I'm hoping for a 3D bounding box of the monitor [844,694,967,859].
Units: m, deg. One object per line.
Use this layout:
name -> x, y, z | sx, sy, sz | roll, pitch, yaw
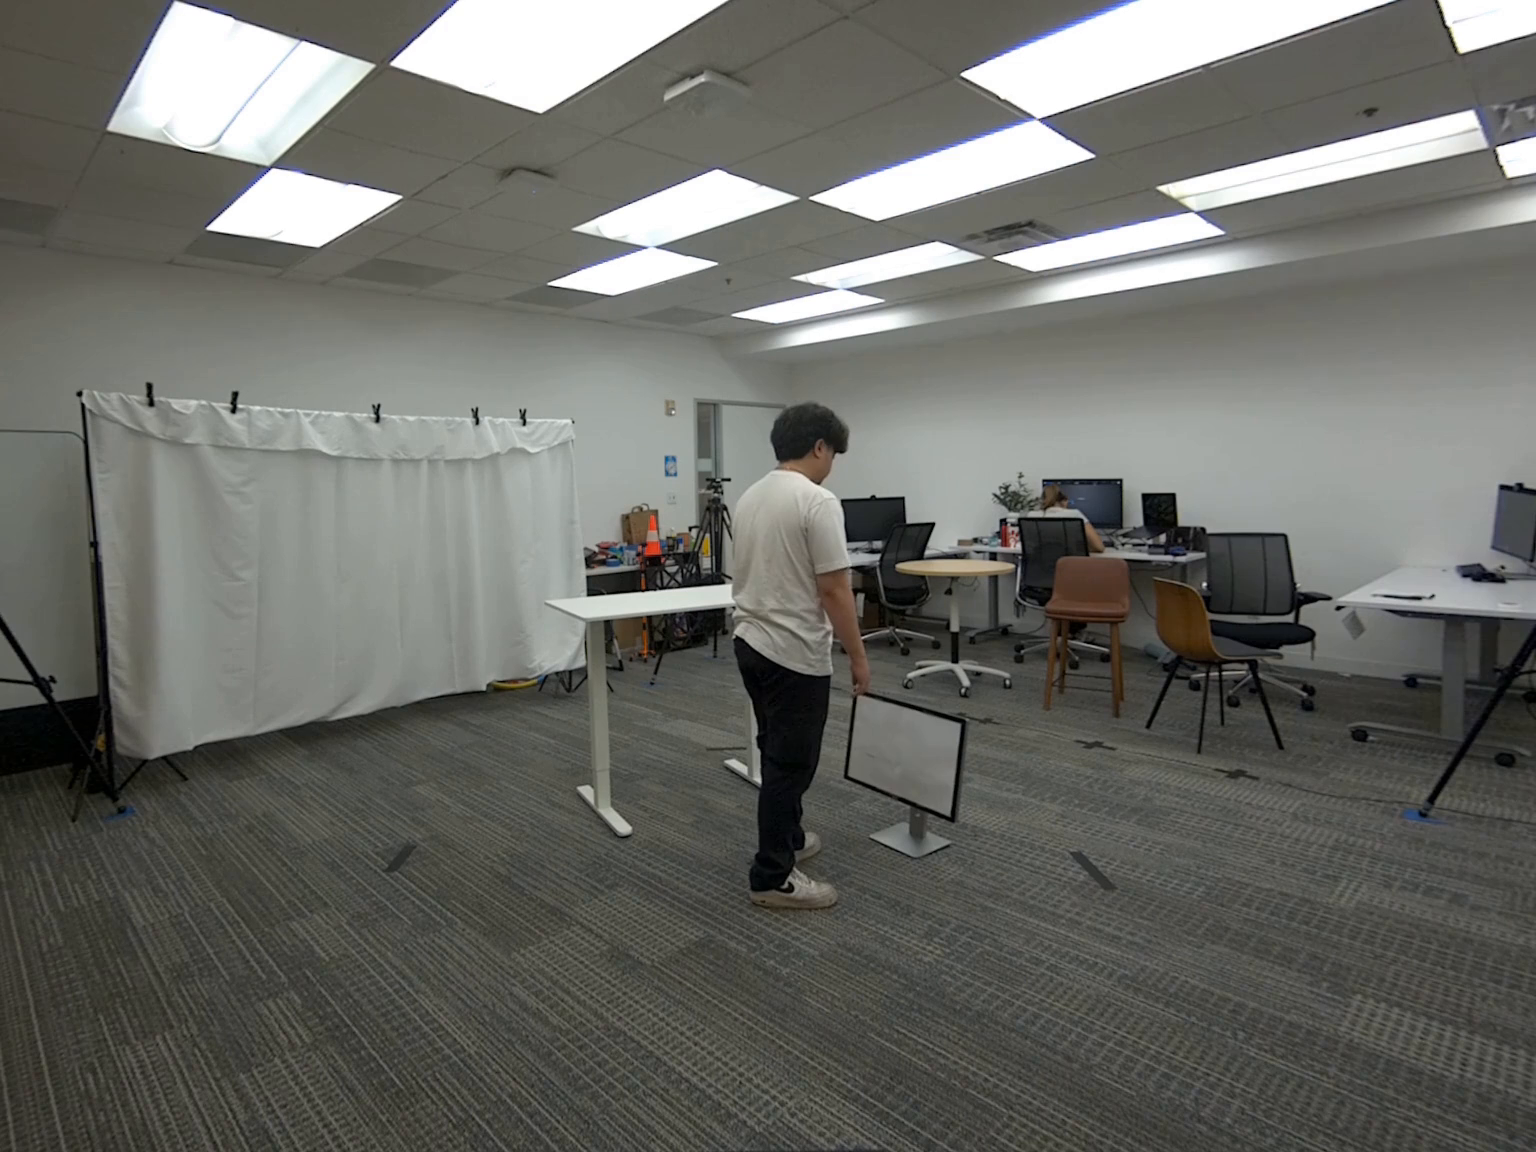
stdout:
monitor -> 0.560, 0.751, 3.265 | 0.204, 0.554, 0.582 | 2, 2, -38
